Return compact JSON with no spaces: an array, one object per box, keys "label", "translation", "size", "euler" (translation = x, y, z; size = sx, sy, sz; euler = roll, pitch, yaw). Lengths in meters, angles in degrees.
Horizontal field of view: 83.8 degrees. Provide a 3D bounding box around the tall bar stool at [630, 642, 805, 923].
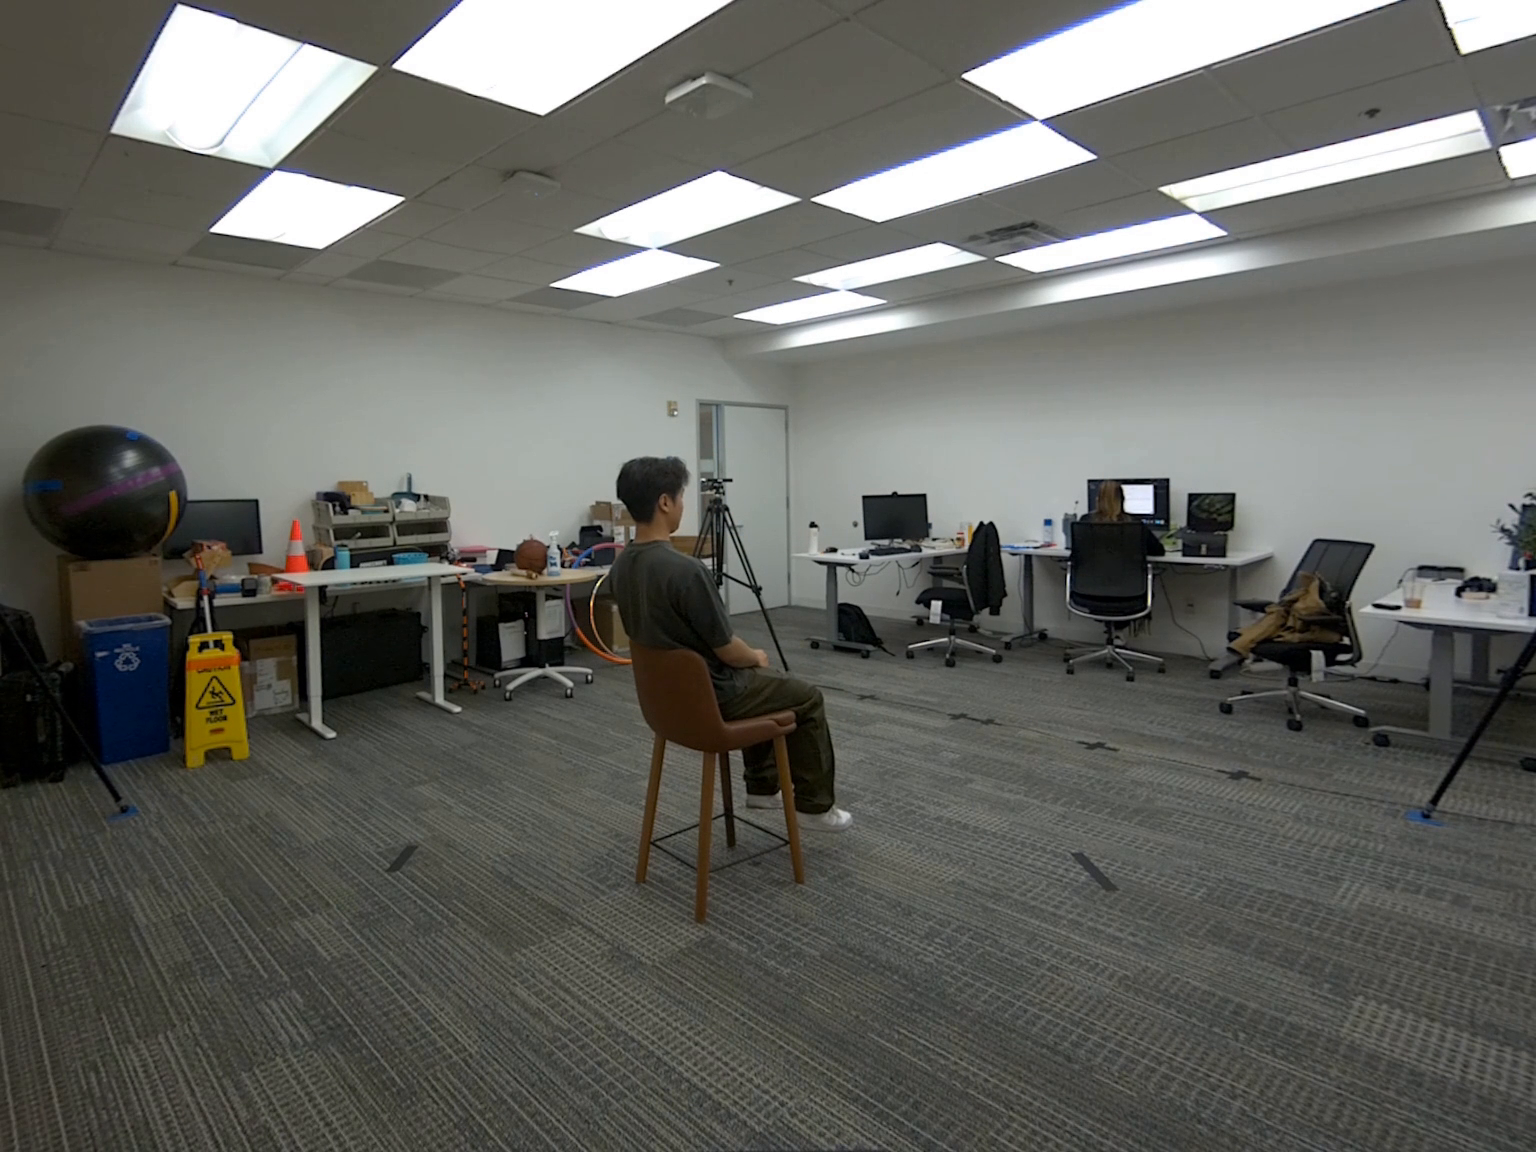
[{"label":"tall bar stool","translation":[-0.187,0.634,2.933],"size":[0.456,0.885,0.470],"euler":[-7,8,-40]}]
